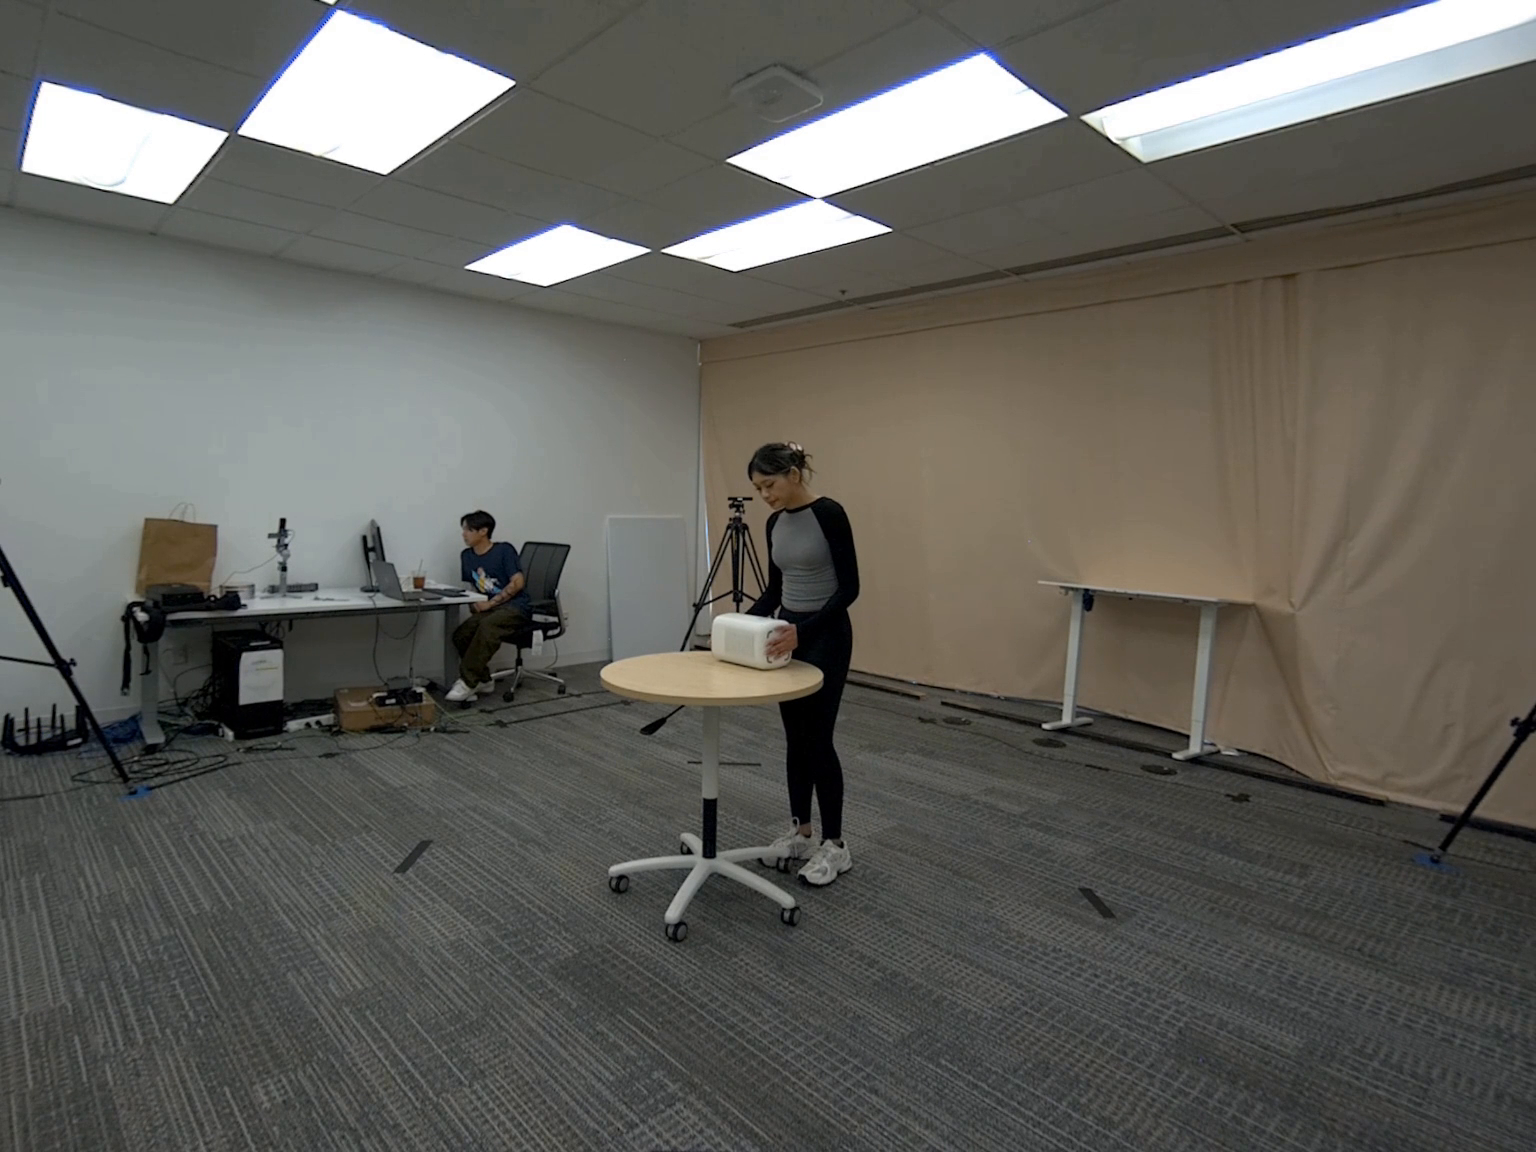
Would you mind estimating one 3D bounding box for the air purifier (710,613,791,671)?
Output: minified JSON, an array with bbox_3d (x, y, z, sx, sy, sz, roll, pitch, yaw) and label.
[{"bbox_3d":[-0.063,0.233,3.031,0.167,0.171,0.272,-2,5,-45],"label":"air purifier"}]
